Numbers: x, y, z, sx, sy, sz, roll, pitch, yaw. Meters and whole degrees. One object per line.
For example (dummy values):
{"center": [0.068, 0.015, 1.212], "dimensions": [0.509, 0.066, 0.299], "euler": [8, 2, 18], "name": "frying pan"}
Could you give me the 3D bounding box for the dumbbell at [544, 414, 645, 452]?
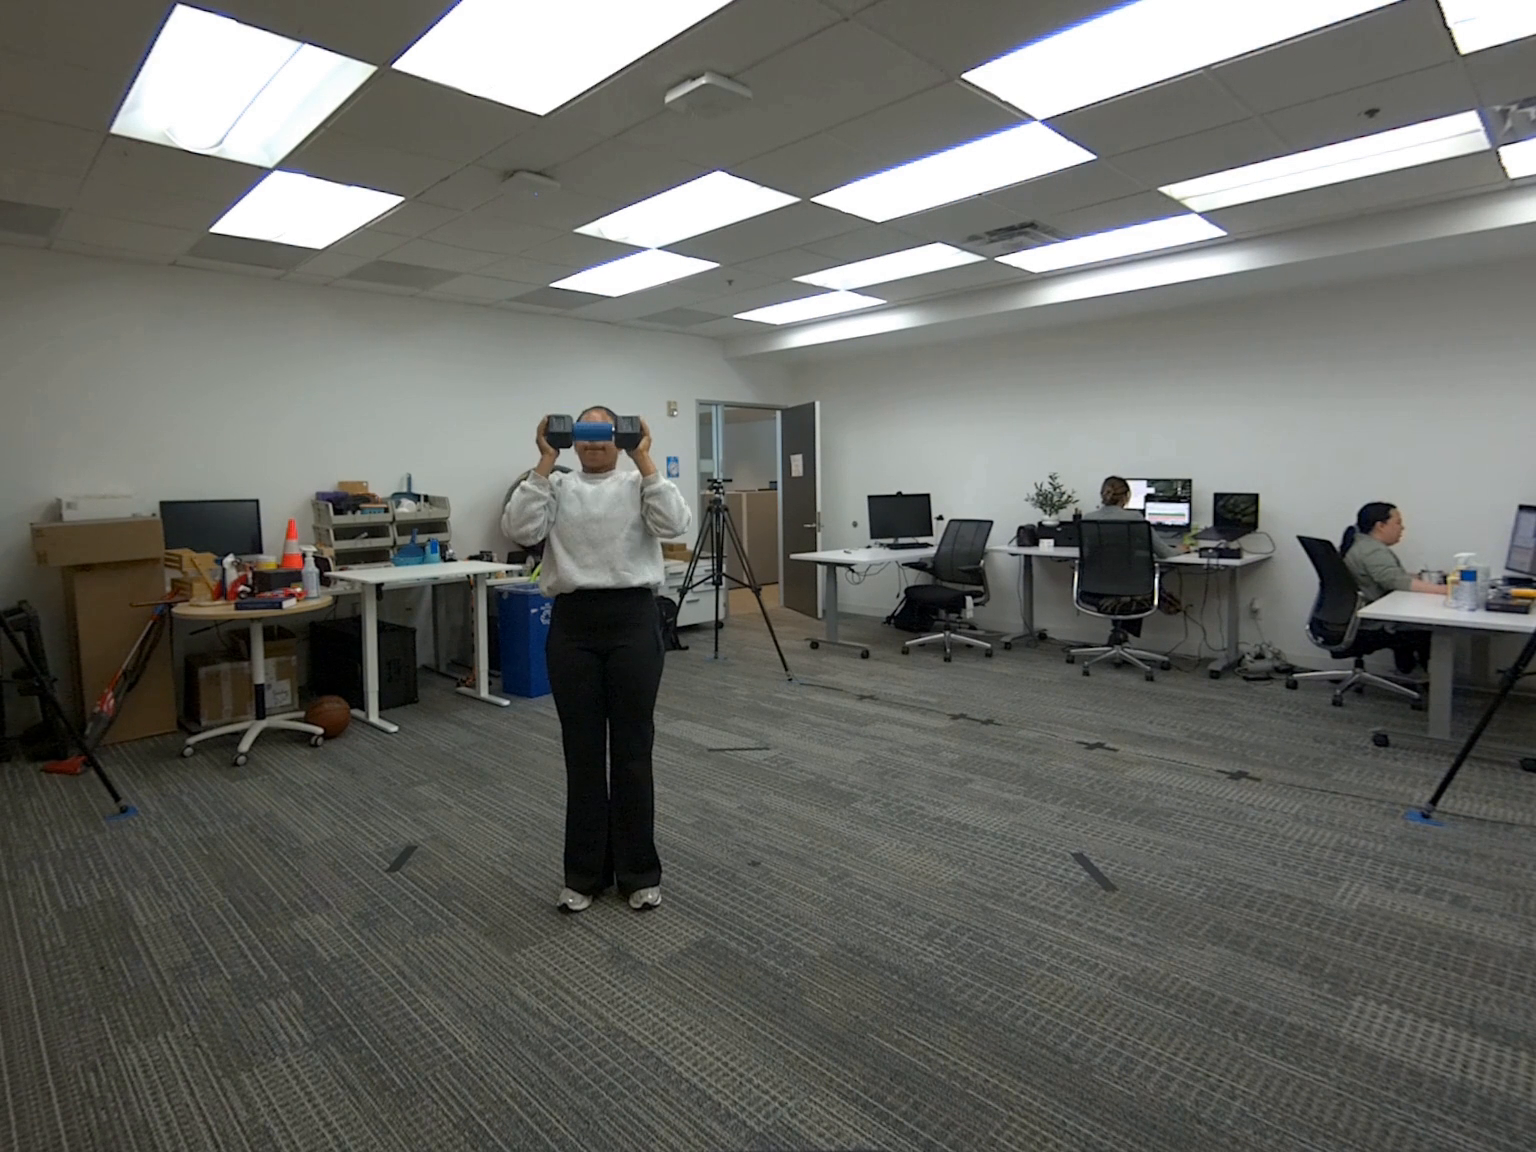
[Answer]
{"center": [-0.557, -0.469, 2.736], "dimensions": [0.291, 0.120, 0.112], "euler": [0, 40, -7], "name": "dumbbell"}
